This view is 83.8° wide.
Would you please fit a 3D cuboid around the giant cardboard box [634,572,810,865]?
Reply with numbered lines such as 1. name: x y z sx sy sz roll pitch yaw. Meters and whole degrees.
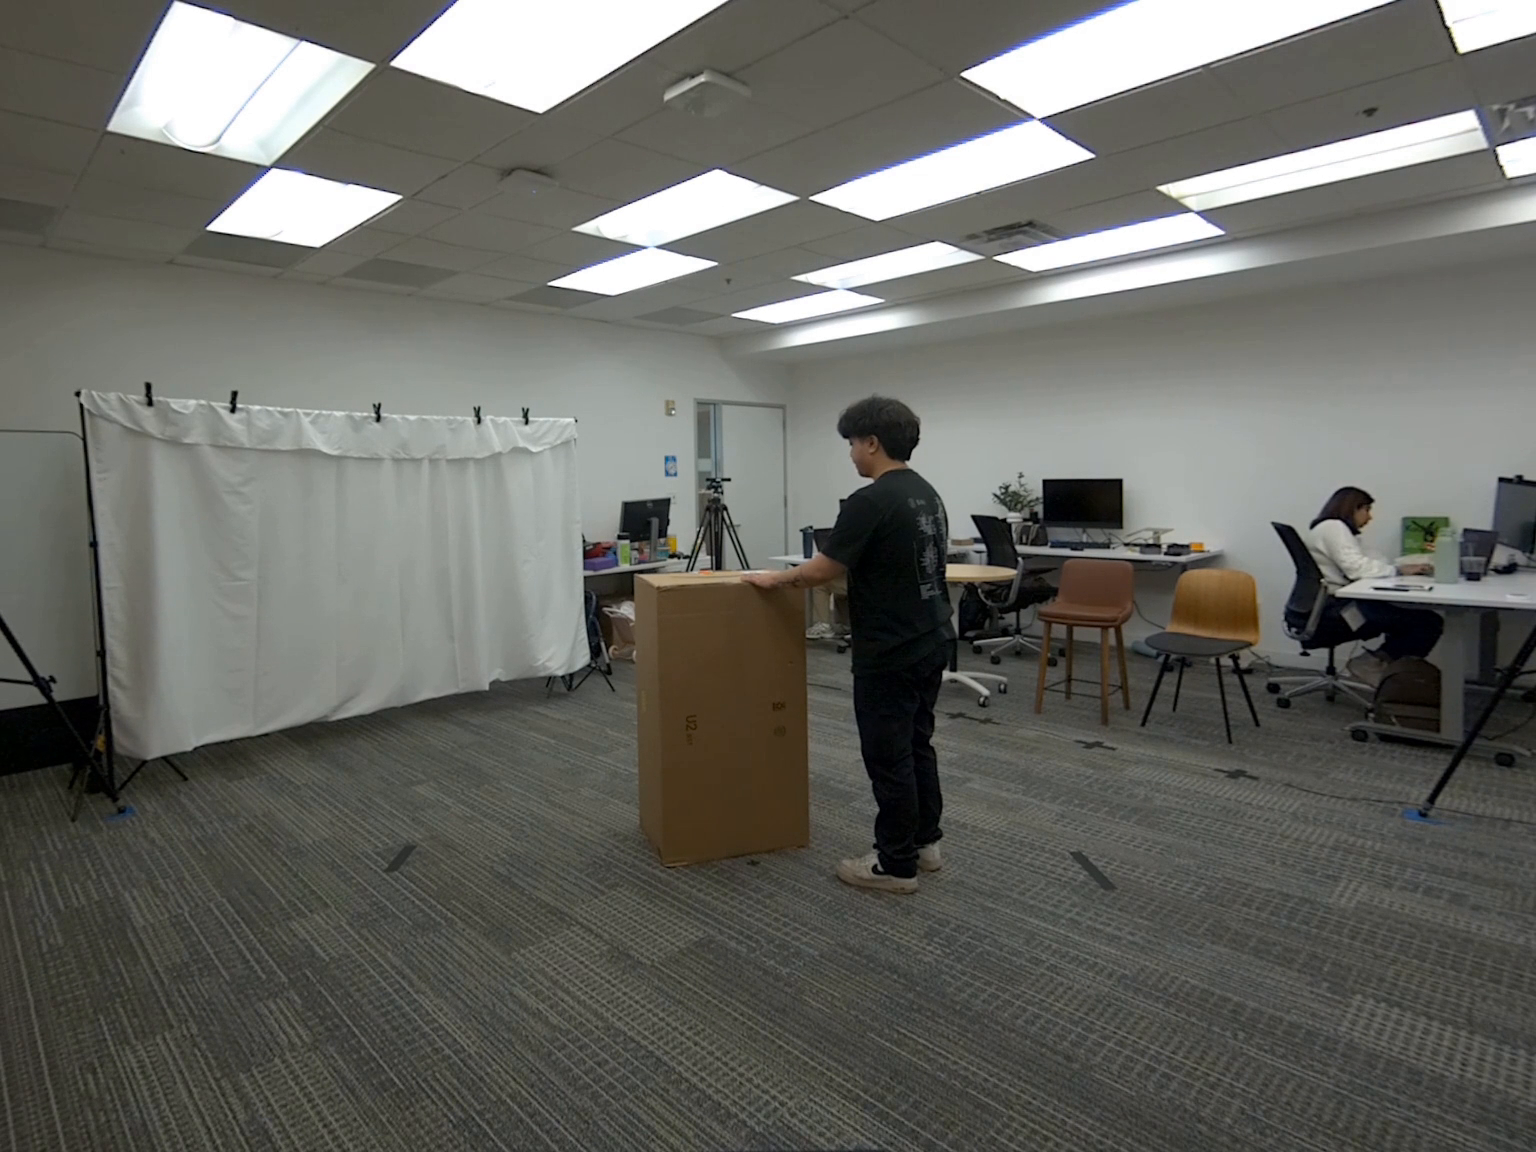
1. giant cardboard box: -0.189 0.507 3.332 0.575 1.024 0.455 -2 4 -18
